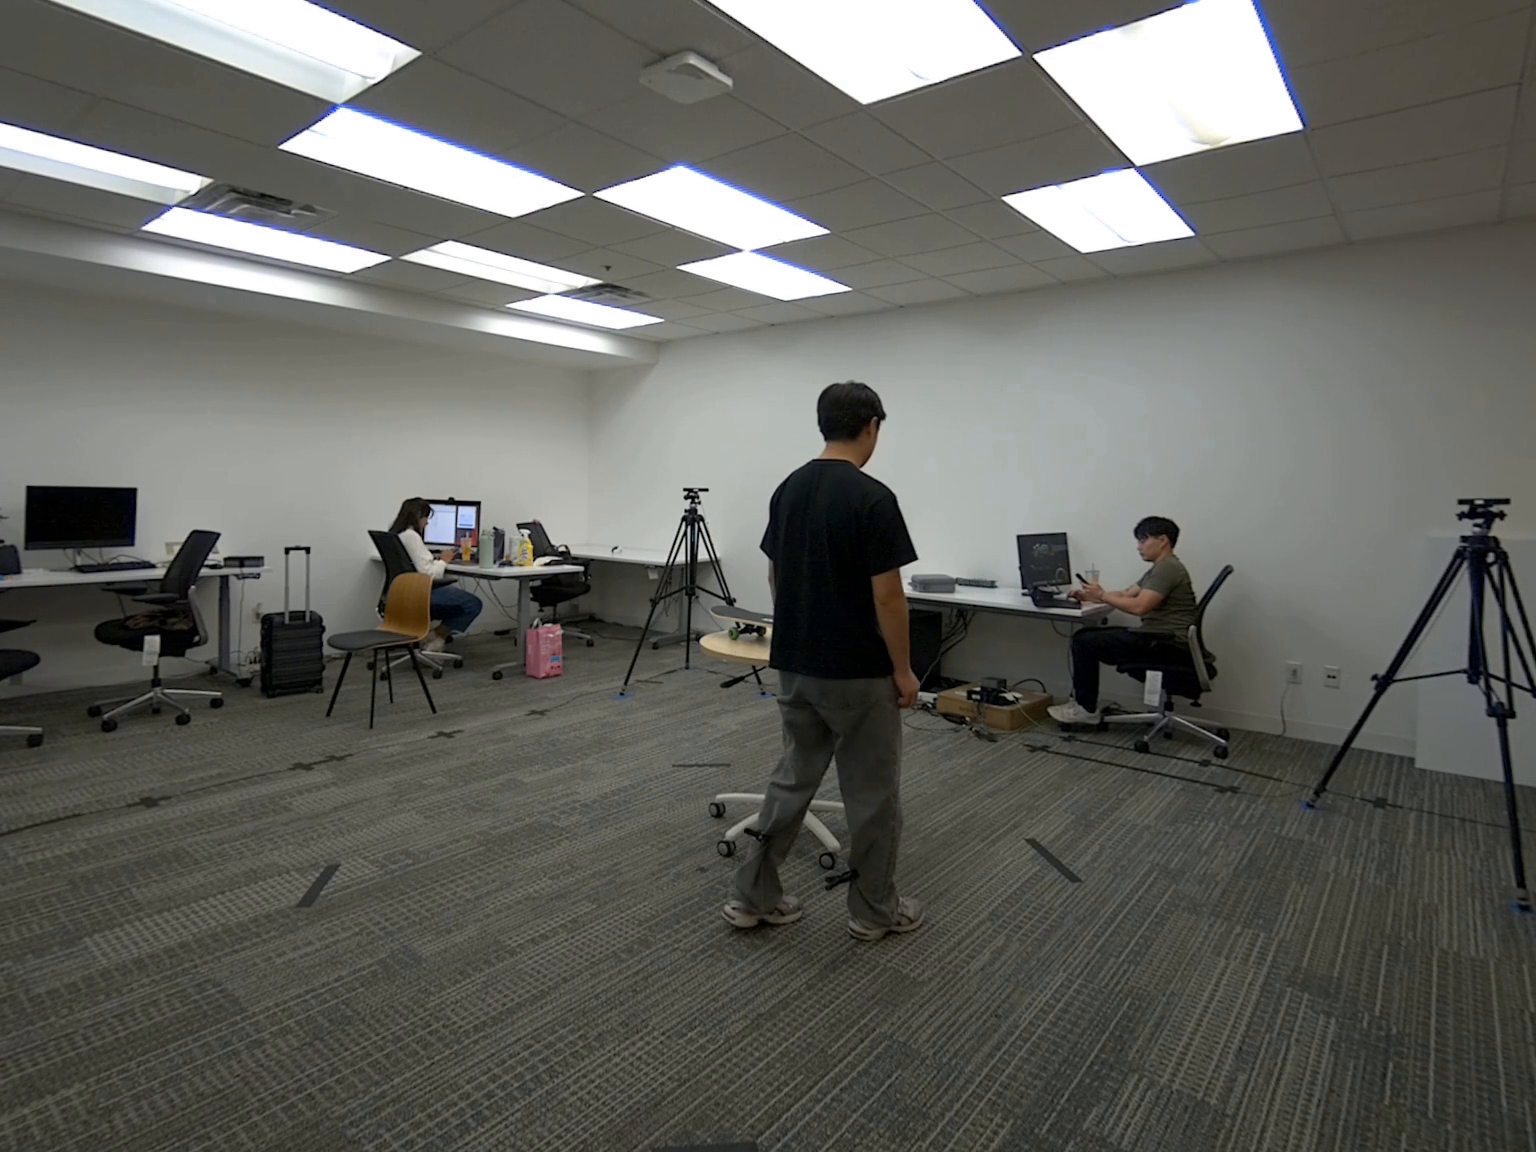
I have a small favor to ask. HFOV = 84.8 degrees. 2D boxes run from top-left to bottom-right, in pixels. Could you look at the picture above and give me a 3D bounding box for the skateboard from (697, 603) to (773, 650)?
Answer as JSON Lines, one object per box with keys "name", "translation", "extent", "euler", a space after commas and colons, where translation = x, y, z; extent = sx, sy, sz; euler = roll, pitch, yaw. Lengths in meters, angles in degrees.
{"name": "skateboard", "translation": [0.041, 0.217, 3.343], "extent": [0.188, 0.110, 0.813], "euler": [-4, 8, -42]}
